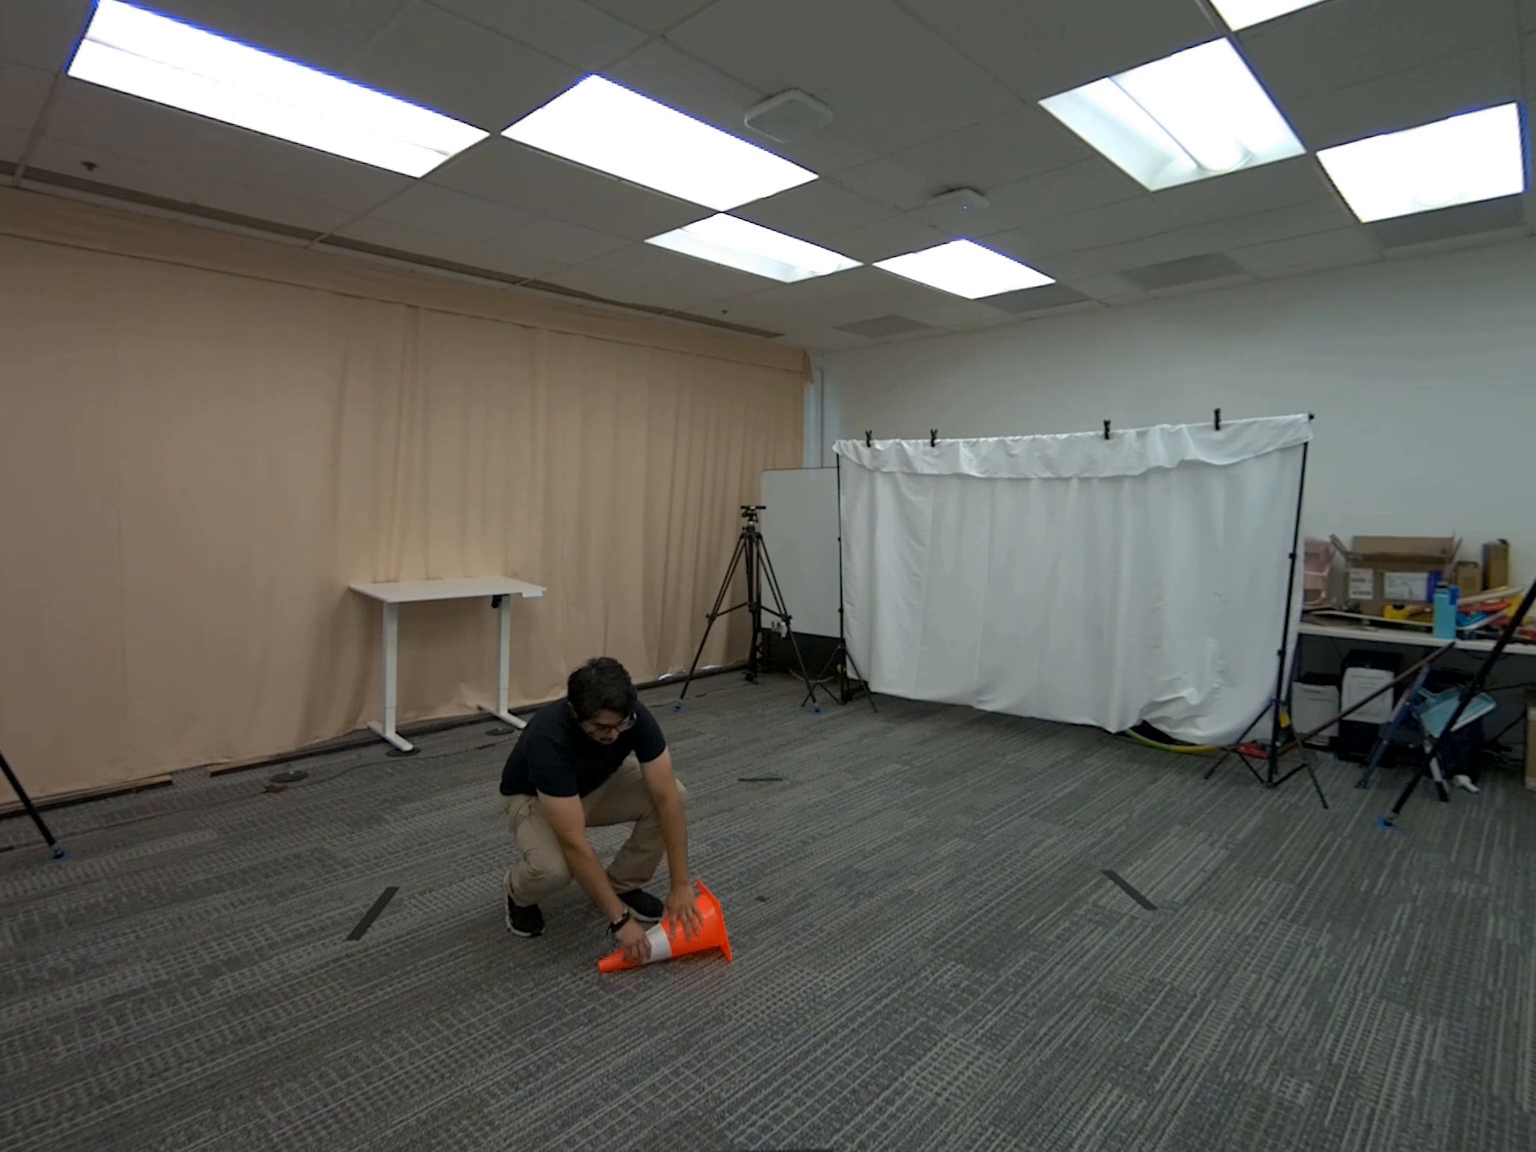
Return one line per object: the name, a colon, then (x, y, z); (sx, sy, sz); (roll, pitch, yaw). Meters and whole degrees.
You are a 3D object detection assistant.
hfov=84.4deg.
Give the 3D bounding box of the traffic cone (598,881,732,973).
traffic cone: (-0.336, 1.130, 2.571); (0.377, 0.203, 0.208); (-14, 11, -21)
